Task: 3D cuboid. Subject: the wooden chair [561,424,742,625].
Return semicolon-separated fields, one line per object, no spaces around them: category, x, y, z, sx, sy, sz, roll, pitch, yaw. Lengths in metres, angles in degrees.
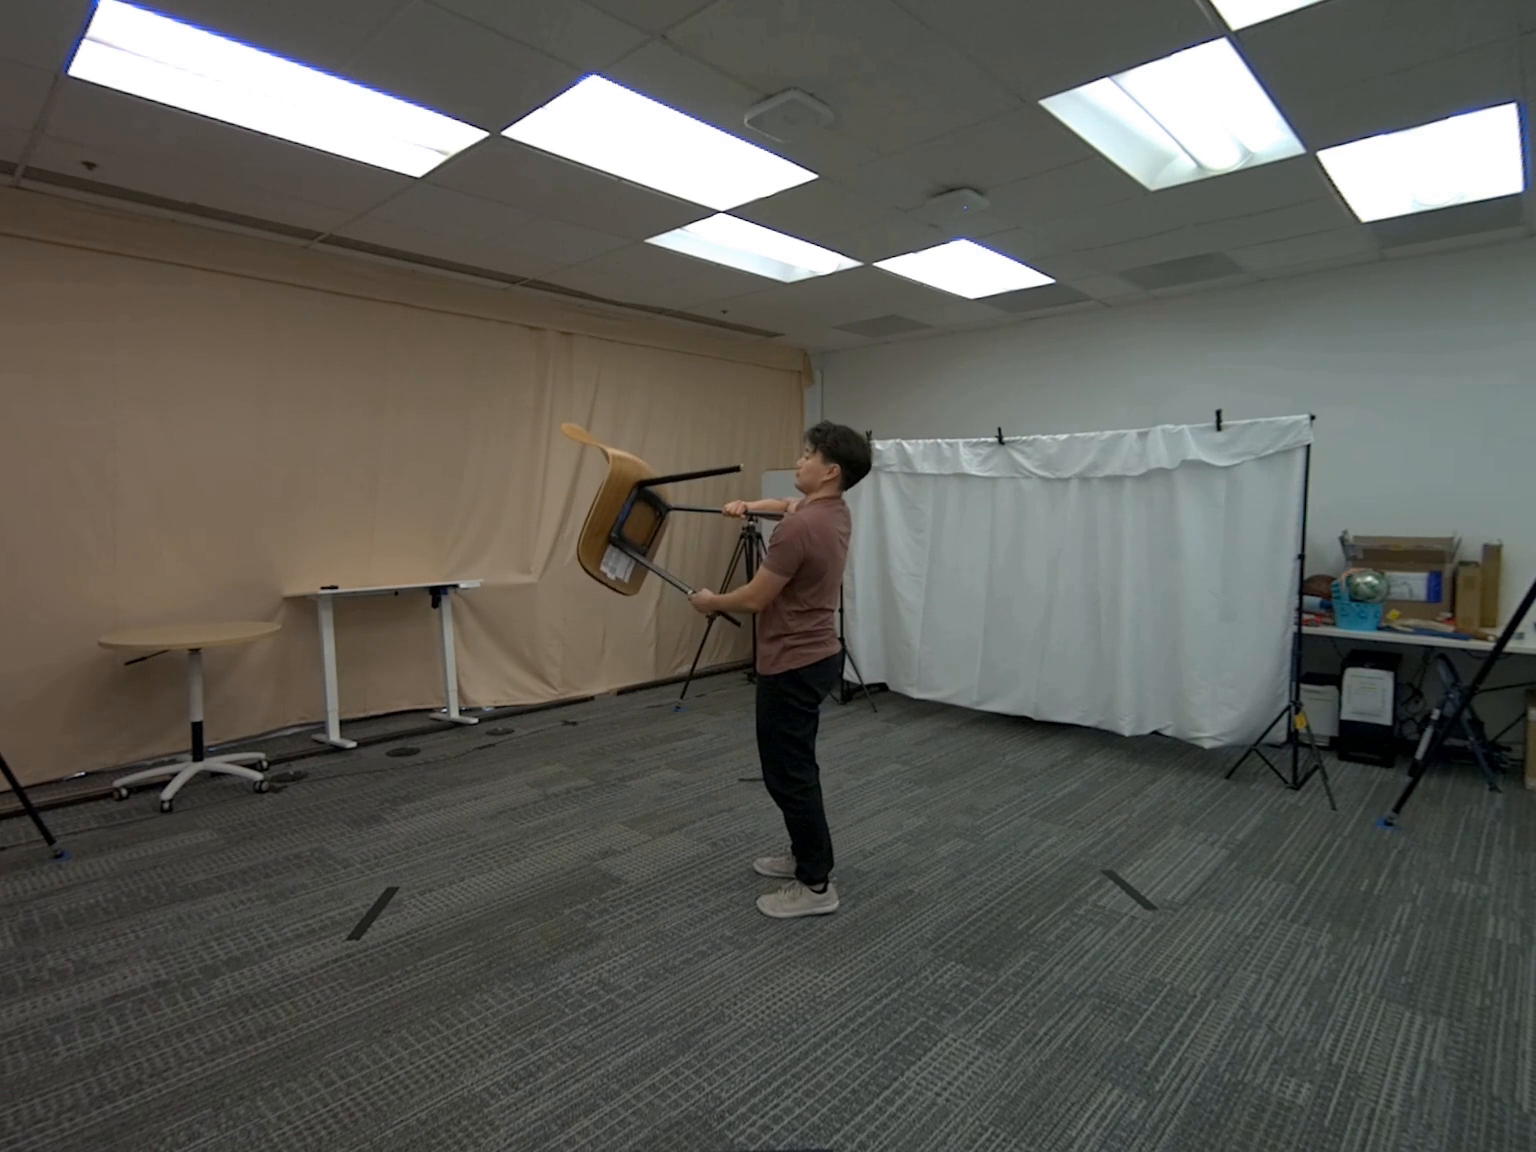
wooden chair;-0.461;-0.186;3.070;0.905;0.523;0.463;22;-8;28
